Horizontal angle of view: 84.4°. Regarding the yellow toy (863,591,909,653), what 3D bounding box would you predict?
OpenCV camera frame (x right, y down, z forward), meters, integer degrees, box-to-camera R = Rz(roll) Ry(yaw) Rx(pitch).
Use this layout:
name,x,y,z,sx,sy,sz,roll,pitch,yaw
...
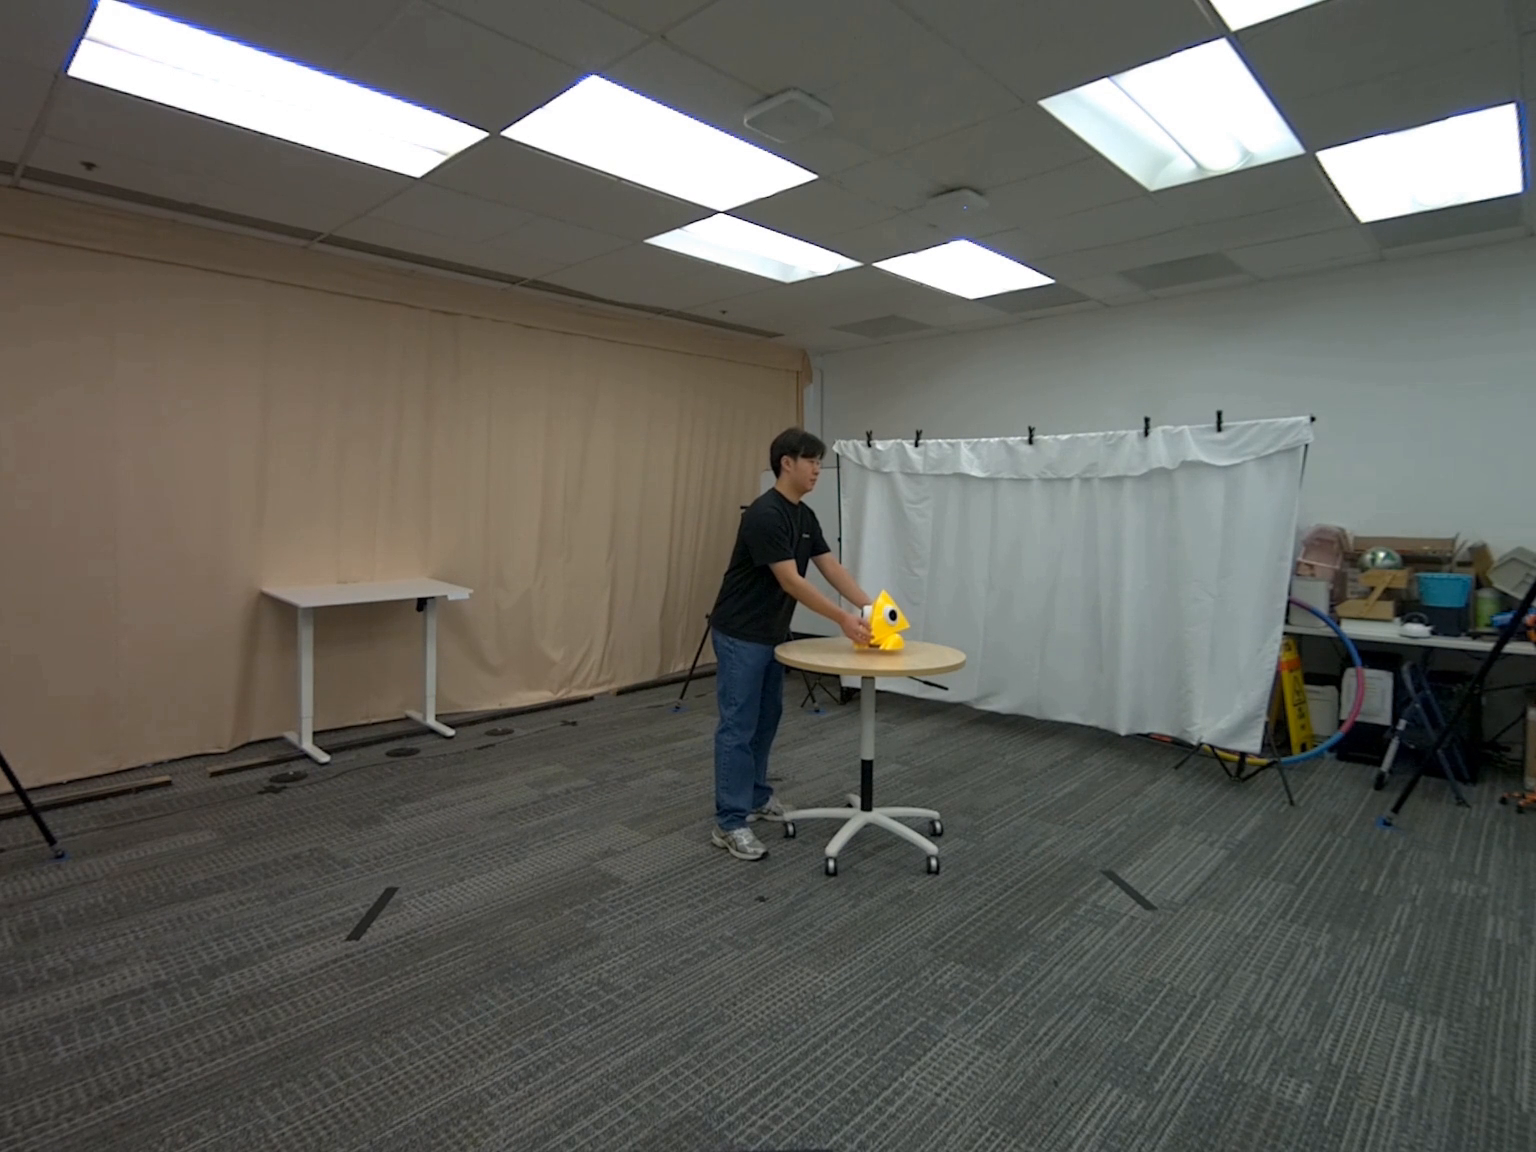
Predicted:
name,x,y,z,sx,sy,sz,roll,pitch,yaw
yellow toy,0.466,0.176,3.428,0.210,0.231,0.188,0,0,28
